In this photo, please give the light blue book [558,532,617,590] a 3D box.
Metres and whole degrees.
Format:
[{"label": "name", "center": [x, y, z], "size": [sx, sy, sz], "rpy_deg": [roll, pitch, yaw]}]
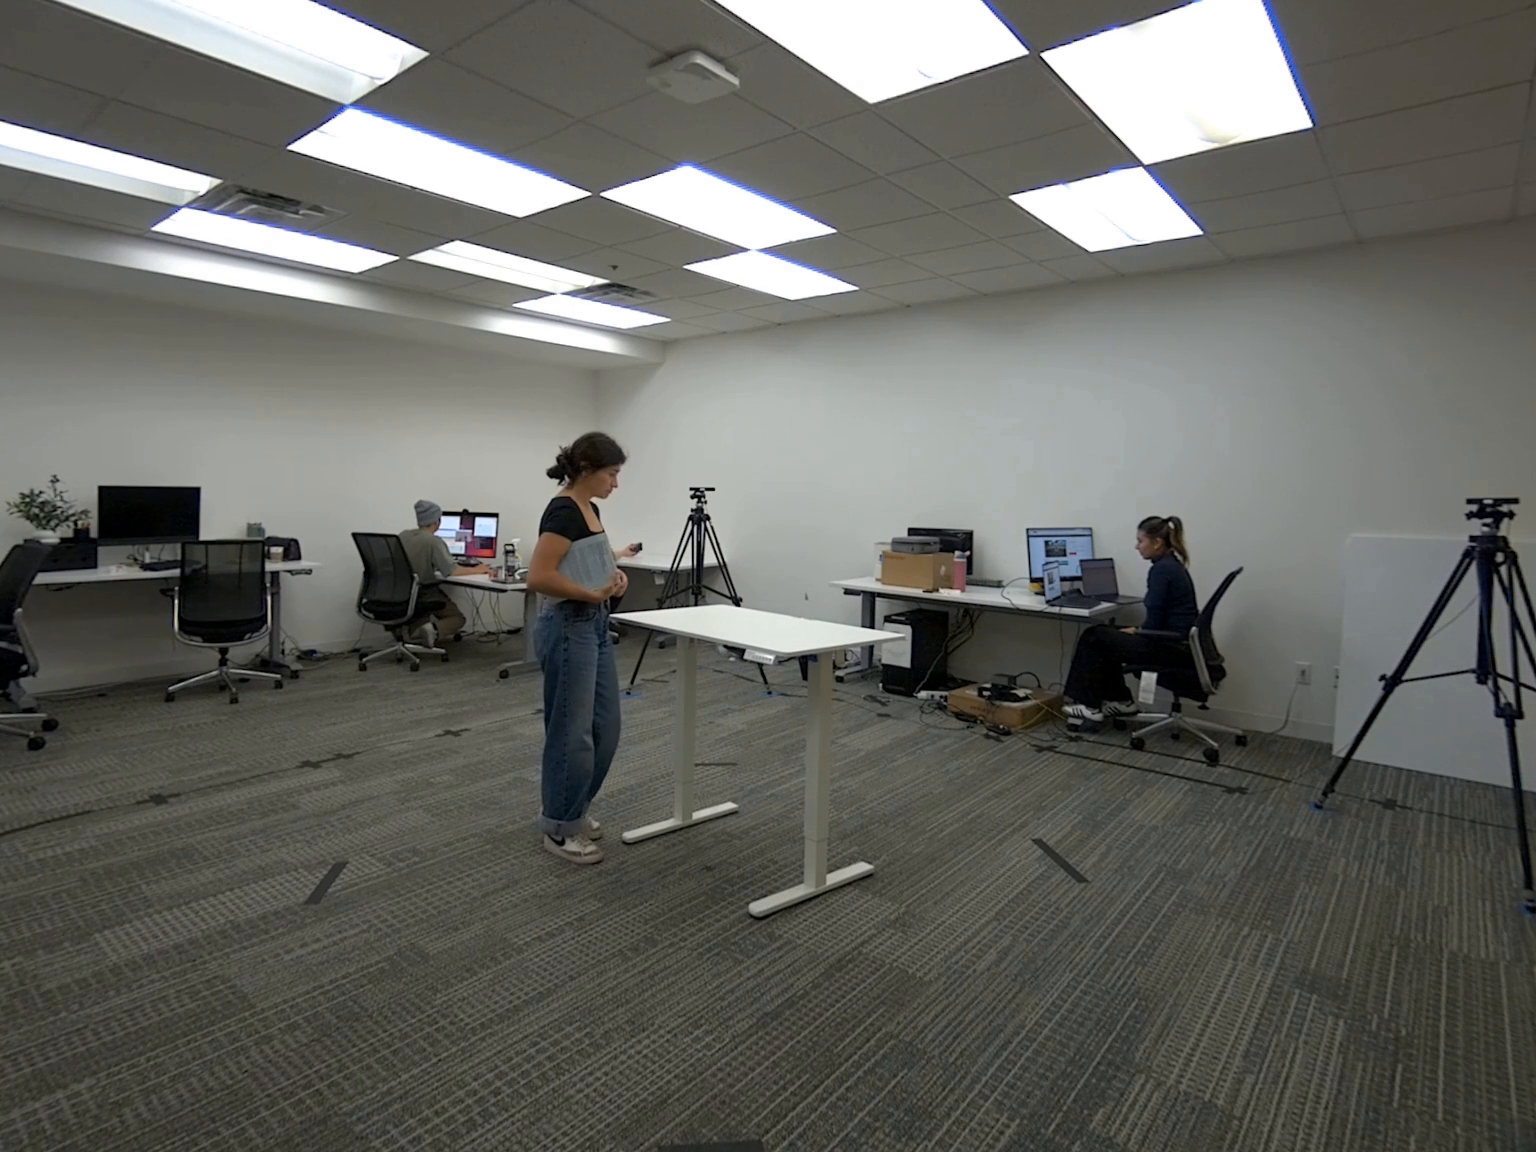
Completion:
[{"label": "light blue book", "center": [-0.694, -0.037, 3.018], "size": [0.259, 0.191, 0.059], "rpy_deg": [-13, 0, -9]}]
